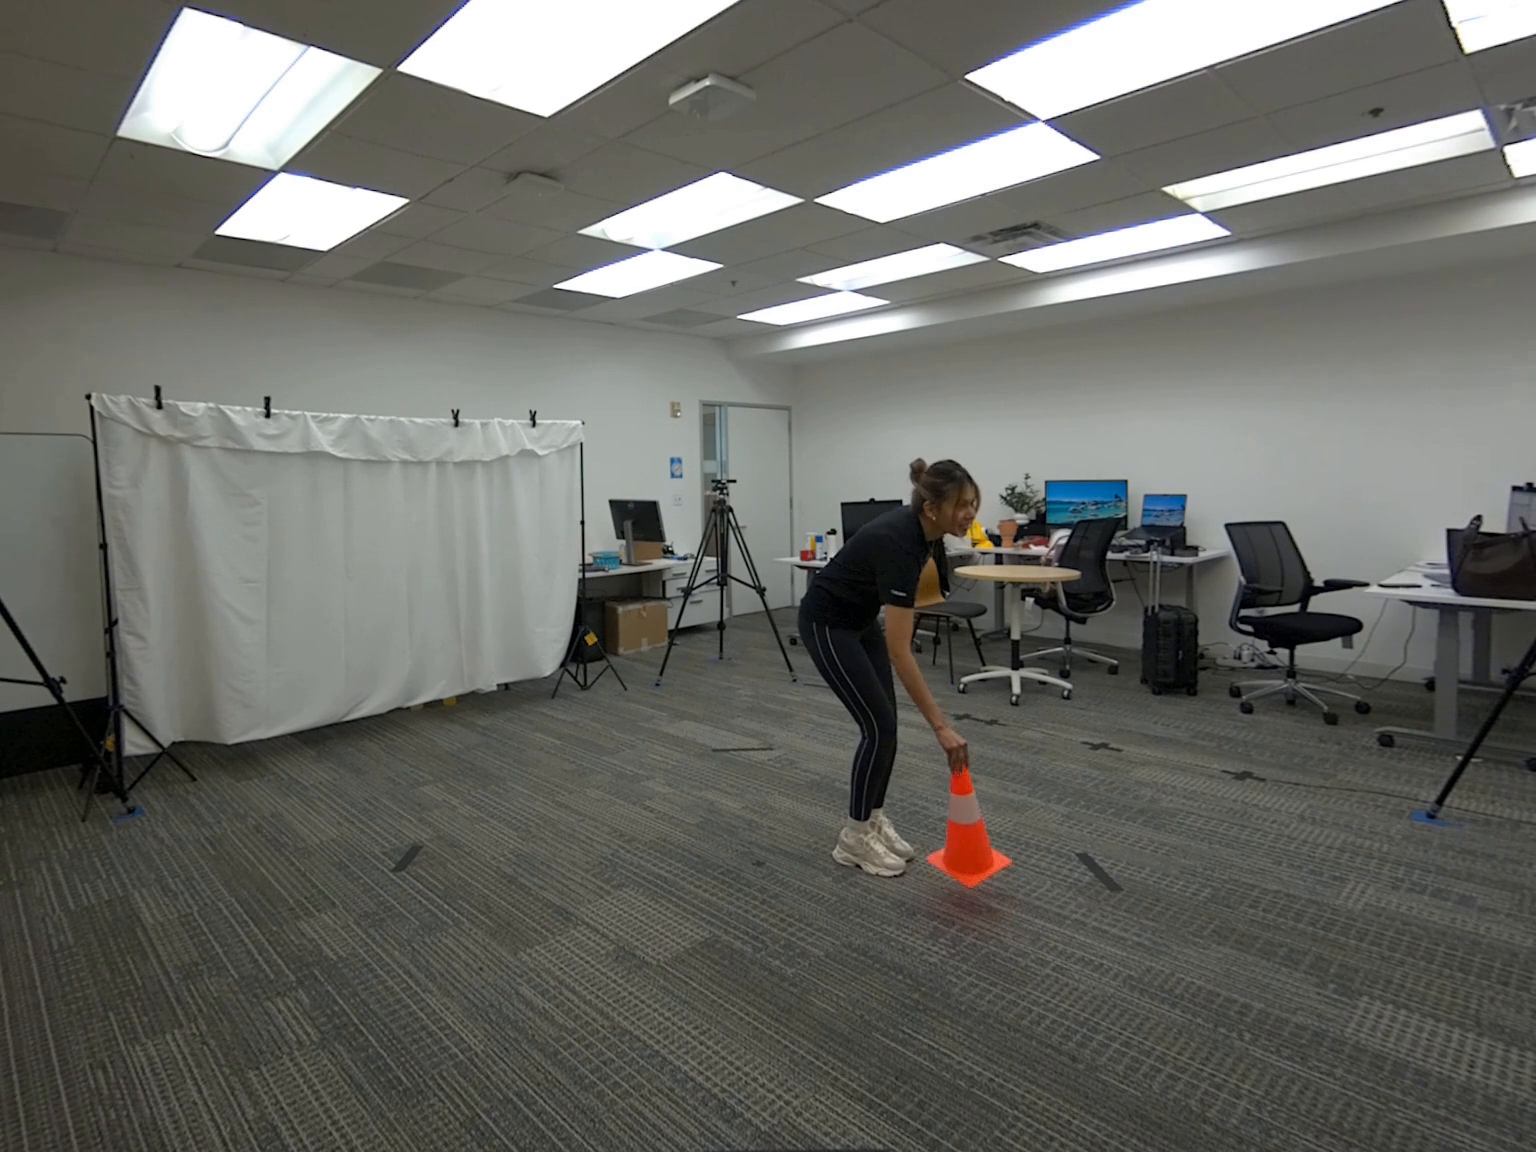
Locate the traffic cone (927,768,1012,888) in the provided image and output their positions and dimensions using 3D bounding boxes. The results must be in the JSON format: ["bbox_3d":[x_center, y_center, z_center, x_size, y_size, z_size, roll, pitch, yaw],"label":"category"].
[{"bbox_3d":[0.630,0.730,2.737,0.199,0.379,0.211,-16,14,-36],"label":"traffic cone"}]
